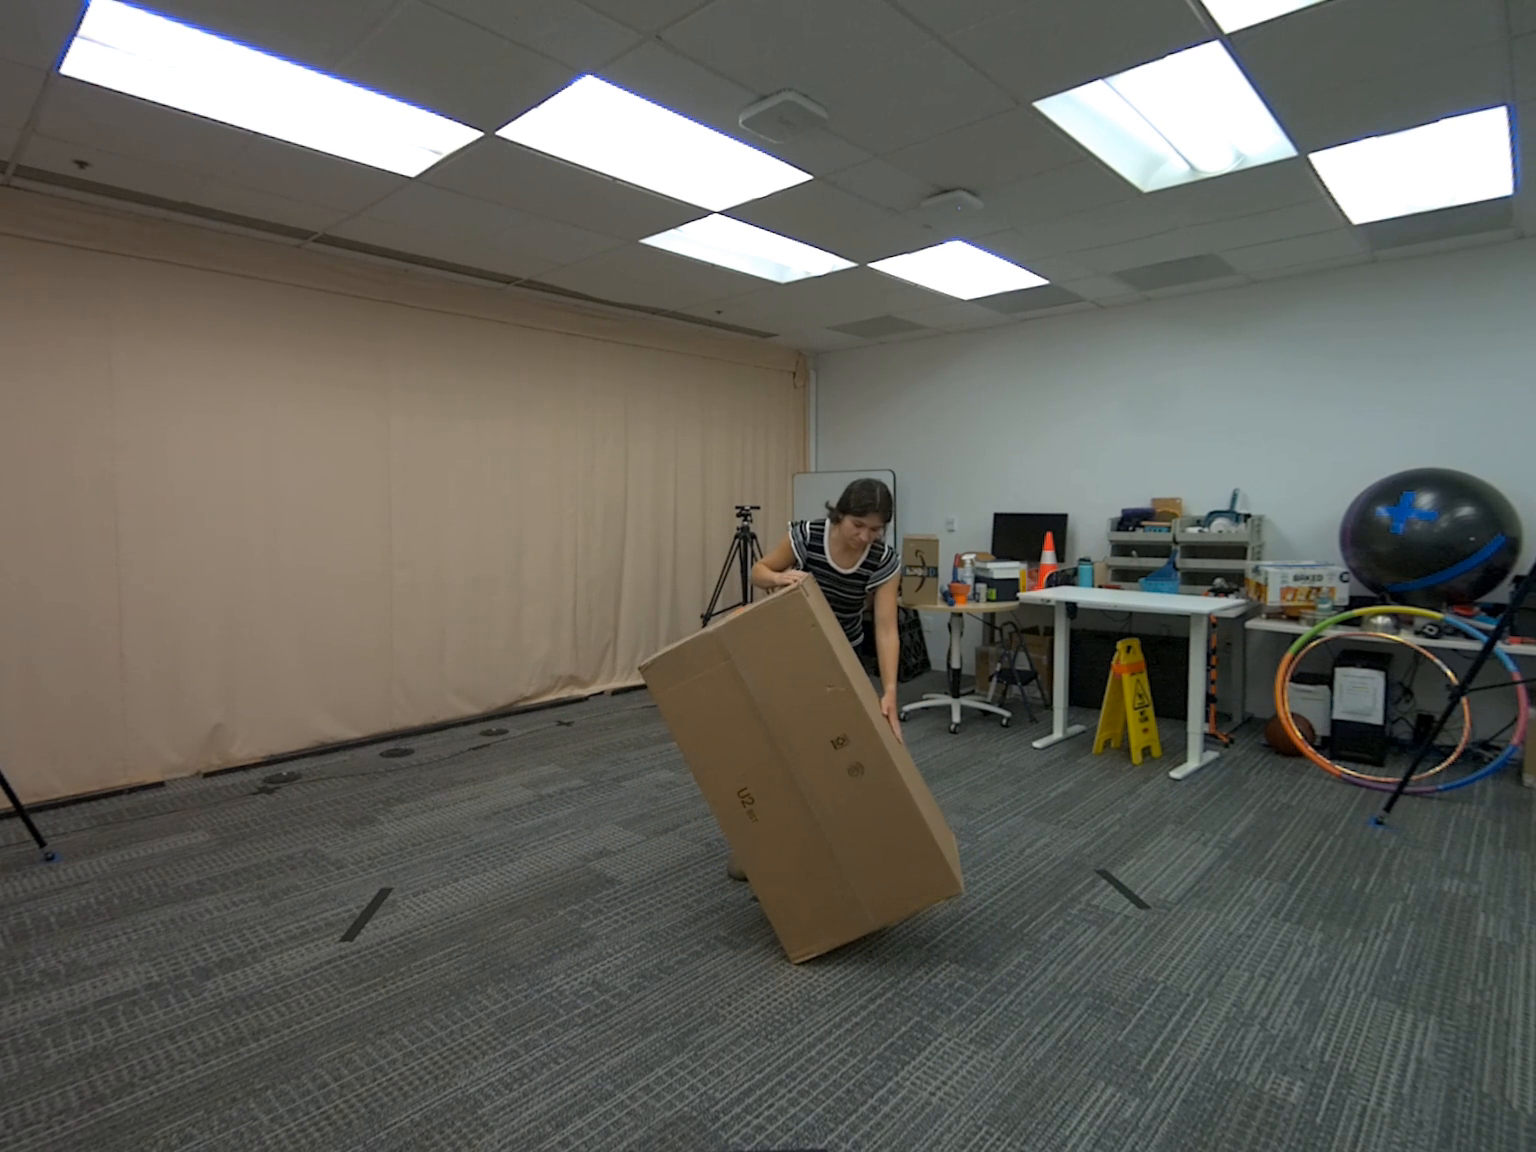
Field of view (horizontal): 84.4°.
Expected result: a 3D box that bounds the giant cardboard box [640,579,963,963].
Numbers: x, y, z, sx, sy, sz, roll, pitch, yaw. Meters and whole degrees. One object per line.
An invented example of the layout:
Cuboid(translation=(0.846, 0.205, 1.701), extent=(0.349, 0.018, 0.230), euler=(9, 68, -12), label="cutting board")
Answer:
Cuboid(translation=(0.122, 0.585, 2.728), extent=(0.581, 1.028, 0.423), euler=(-29, -2, 9), label="giant cardboard box")
